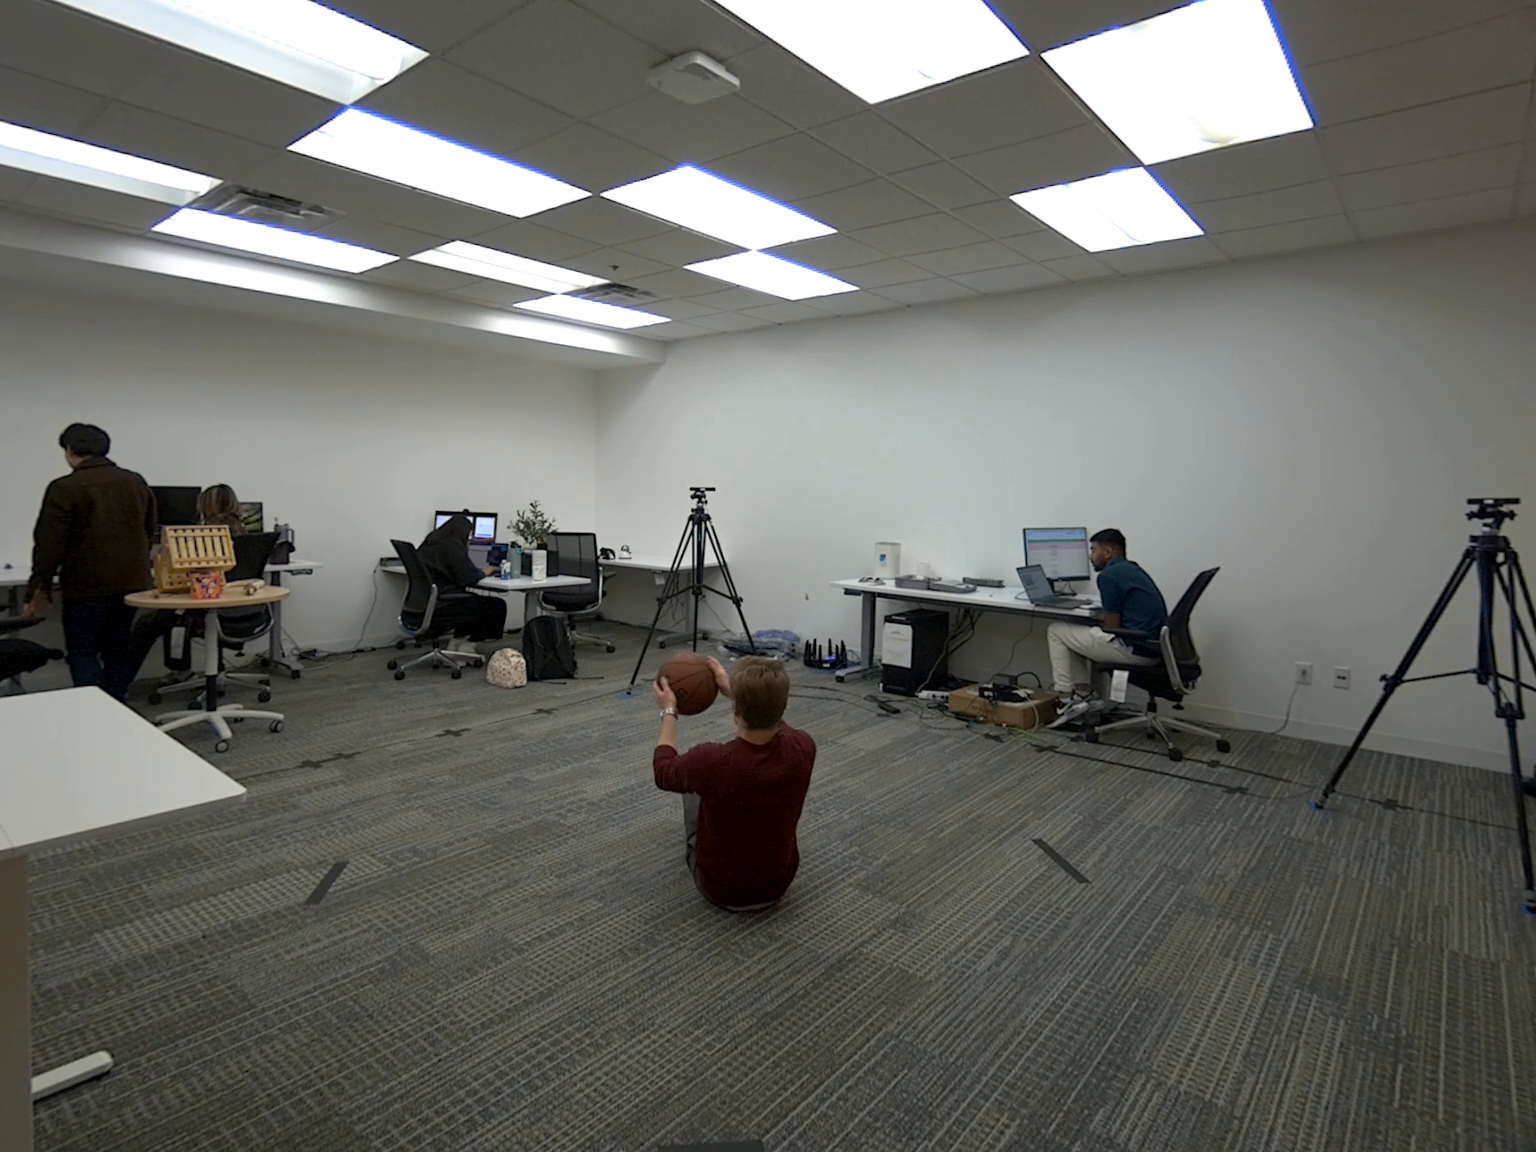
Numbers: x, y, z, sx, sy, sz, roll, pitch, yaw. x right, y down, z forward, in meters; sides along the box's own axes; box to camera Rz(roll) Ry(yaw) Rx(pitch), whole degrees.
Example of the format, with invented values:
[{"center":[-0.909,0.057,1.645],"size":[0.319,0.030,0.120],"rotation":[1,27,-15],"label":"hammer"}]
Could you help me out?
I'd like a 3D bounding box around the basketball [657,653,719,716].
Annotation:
[{"center":[-0.313,0.421,3.212],"size":[0.235,0.235,0.237],"rotation":[1,4,-2],"label":"basketball"}]
